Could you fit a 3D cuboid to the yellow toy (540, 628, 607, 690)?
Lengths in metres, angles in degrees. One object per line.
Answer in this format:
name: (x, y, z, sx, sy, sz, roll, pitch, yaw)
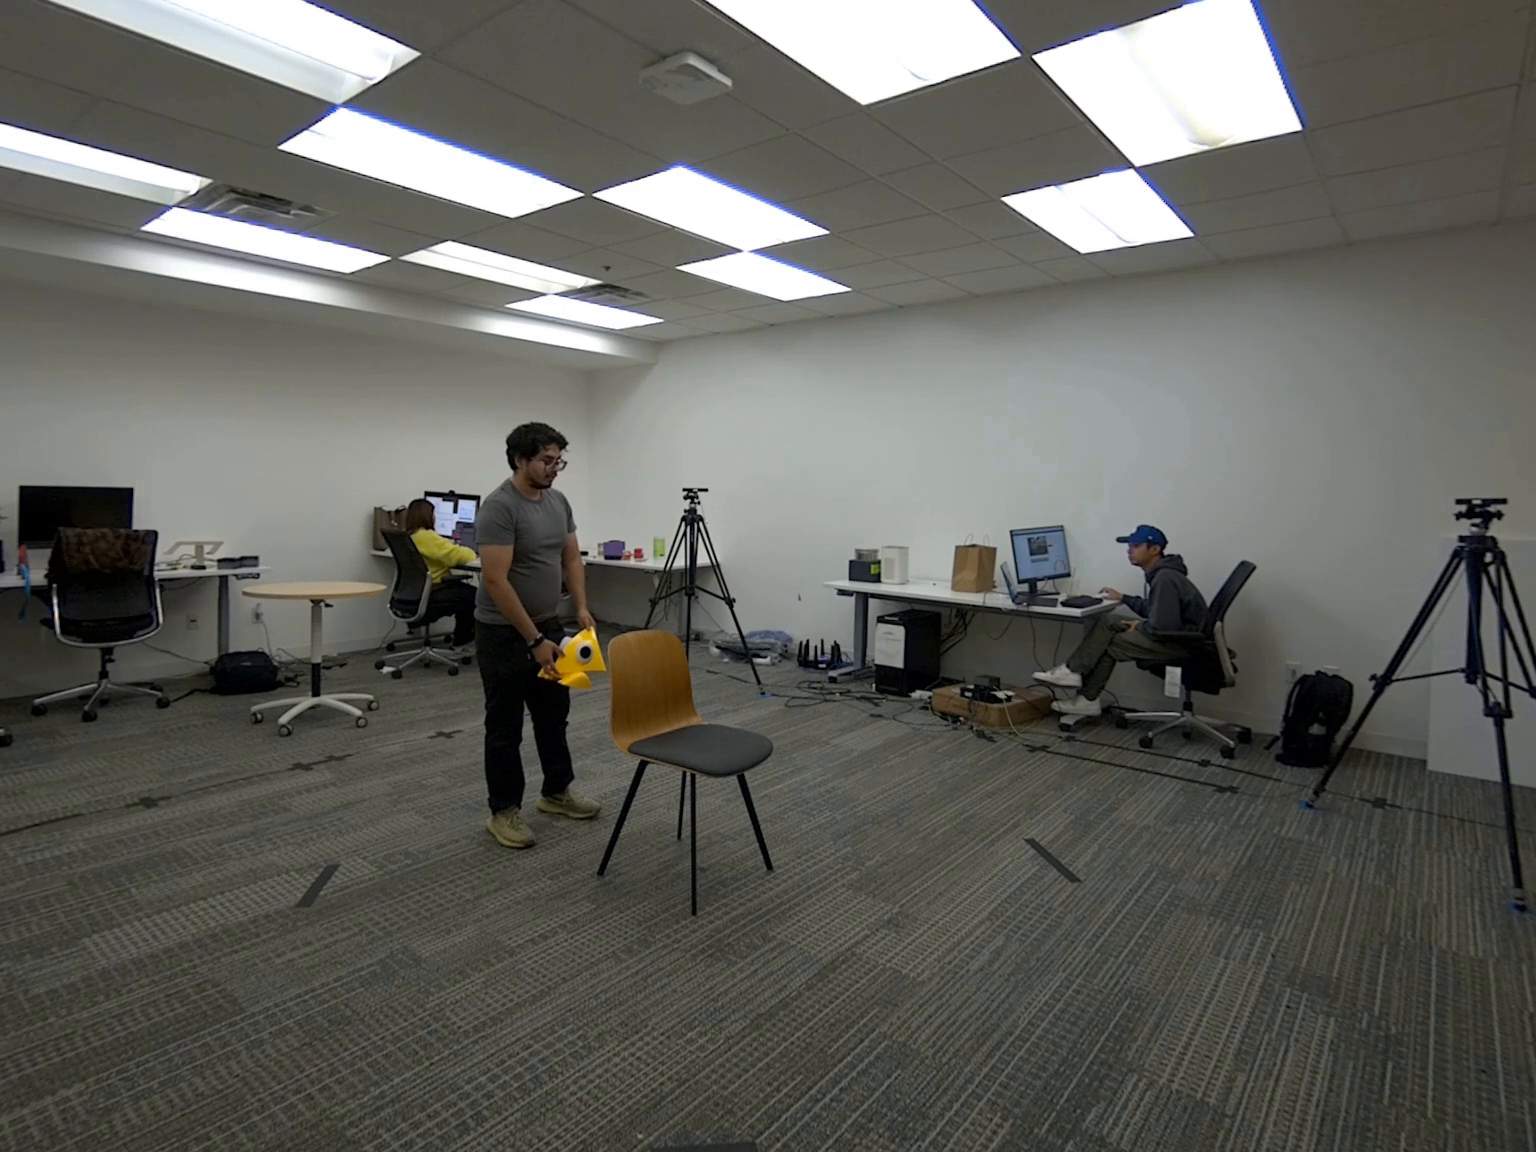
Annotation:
yellow toy: (-0.758, 0.299, 3.279, 0.212, 0.232, 0.186, 11, -7, 32)
